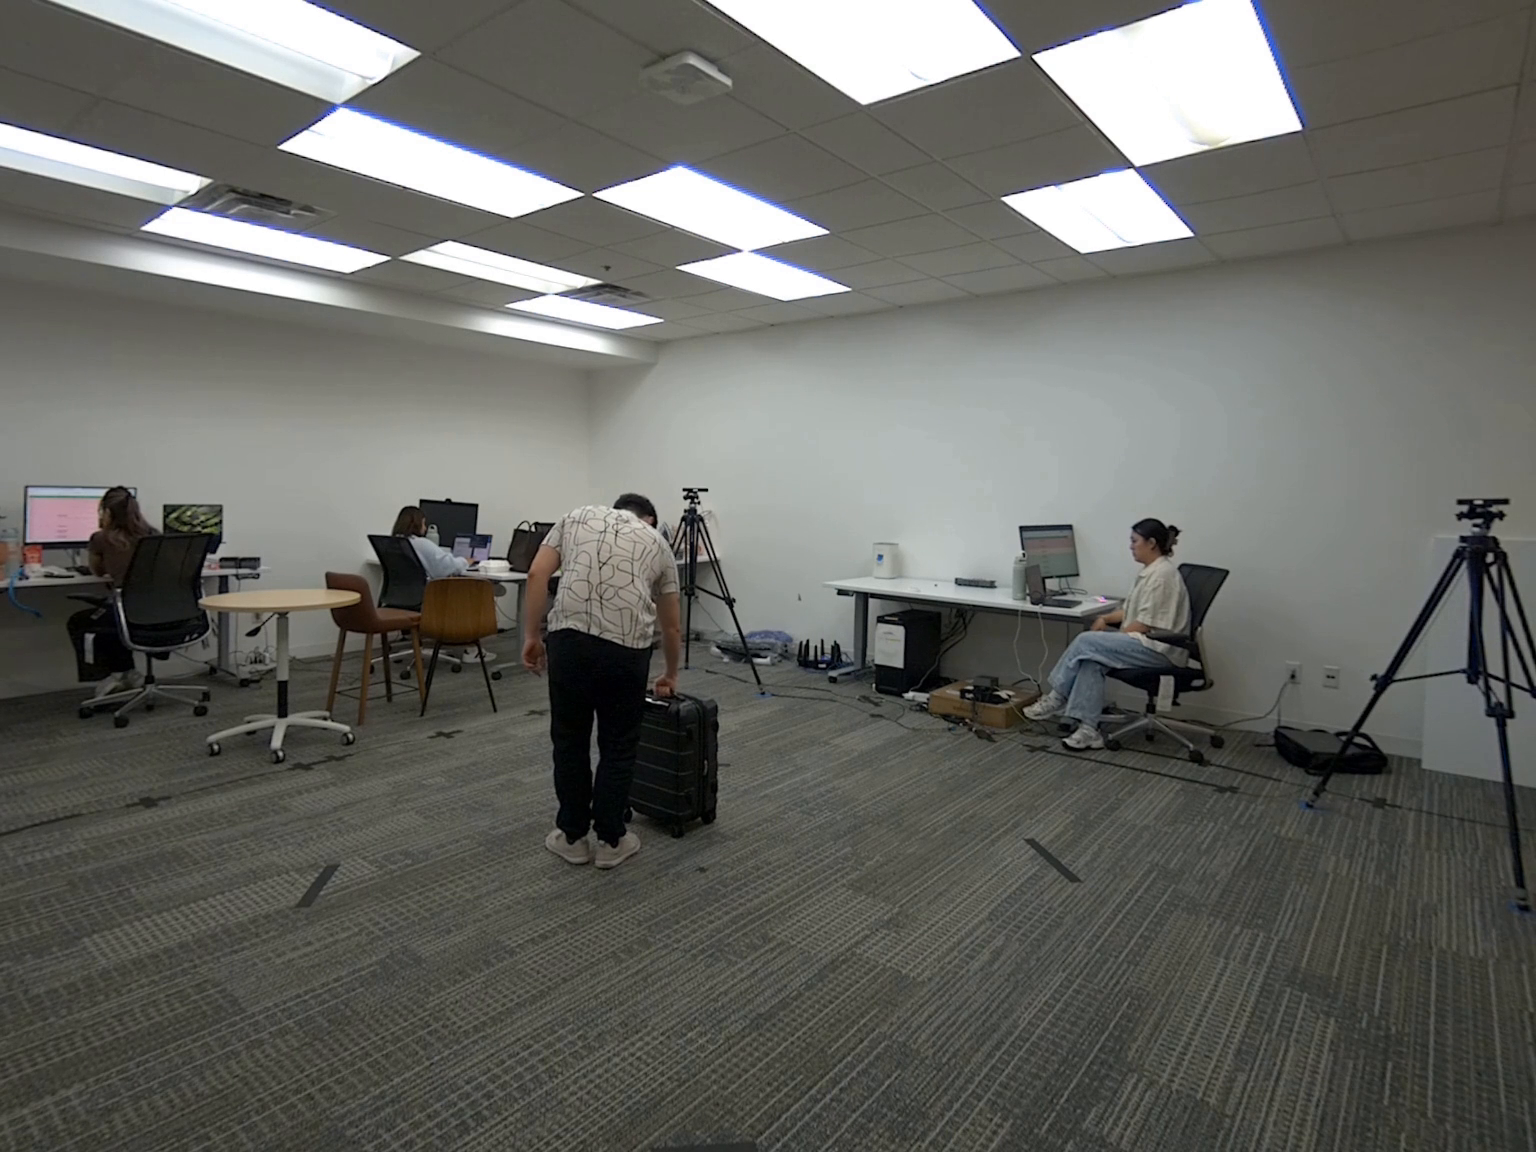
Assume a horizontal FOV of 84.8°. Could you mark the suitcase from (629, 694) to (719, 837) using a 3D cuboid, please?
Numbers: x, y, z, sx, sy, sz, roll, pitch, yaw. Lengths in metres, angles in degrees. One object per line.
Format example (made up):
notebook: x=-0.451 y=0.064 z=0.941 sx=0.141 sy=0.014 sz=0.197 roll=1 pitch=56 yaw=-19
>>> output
suitcase: x=-0.416 y=0.745 z=3.545 sx=0.388 sy=0.548 sz=0.241 roll=4 pitch=4 yaw=37
